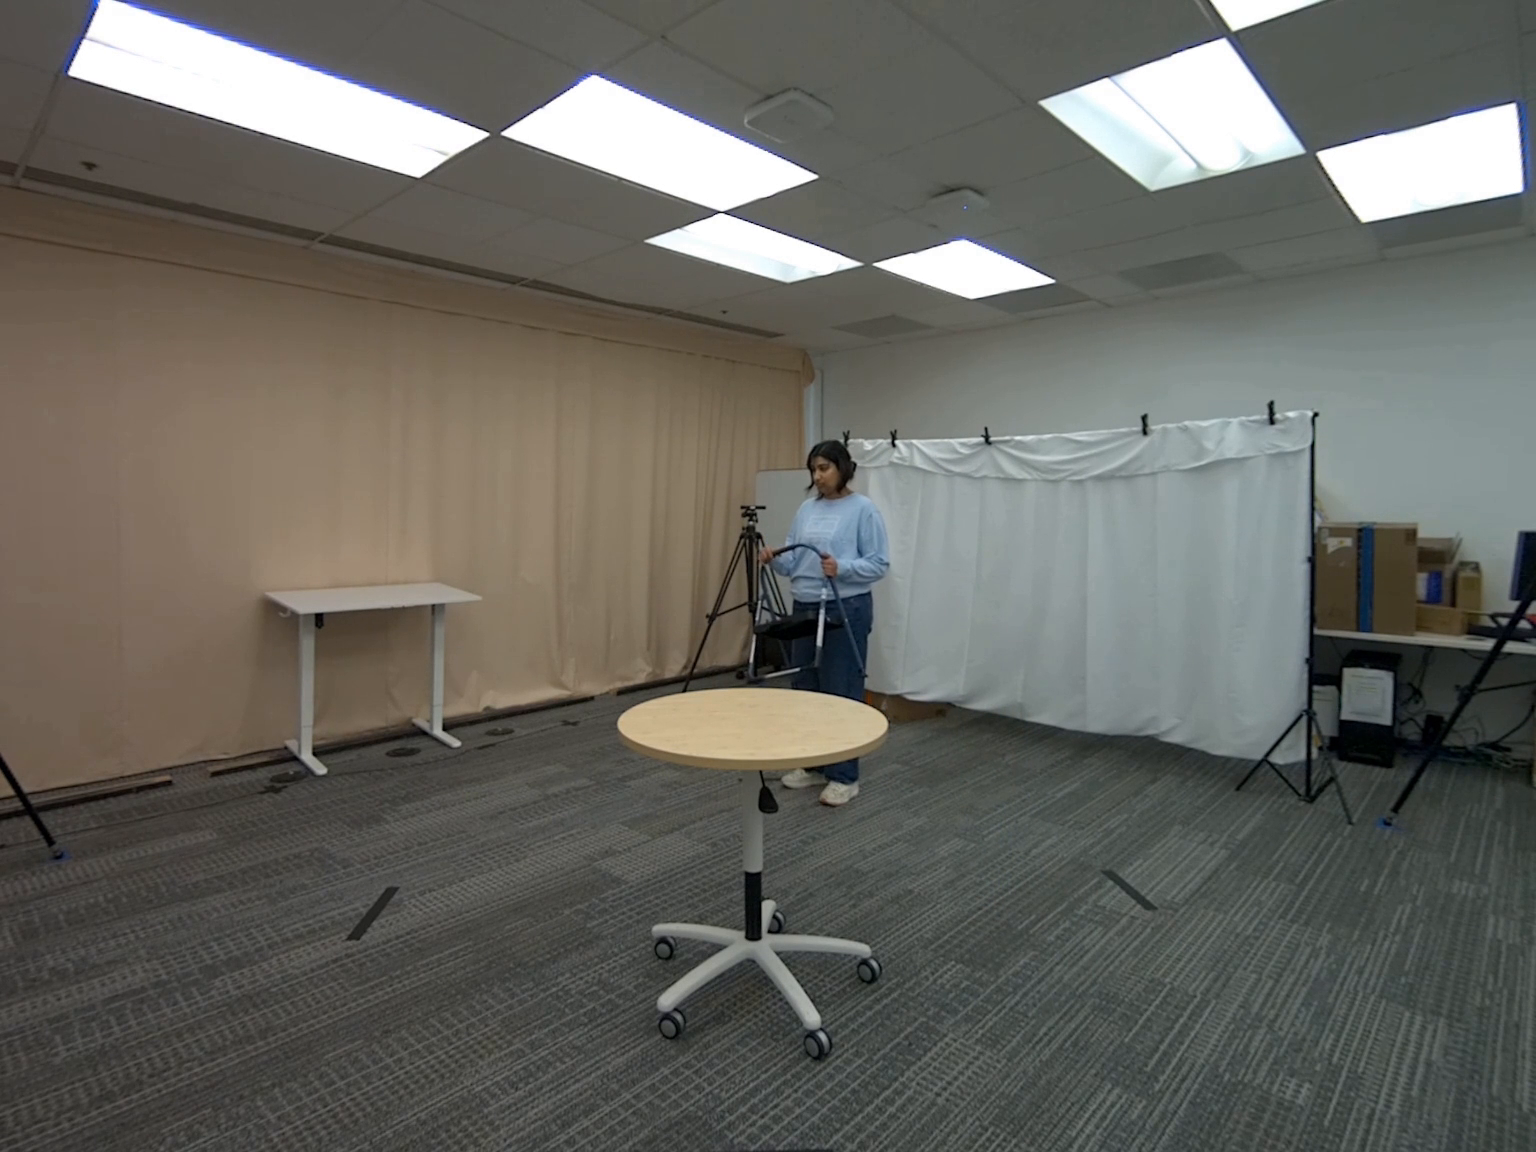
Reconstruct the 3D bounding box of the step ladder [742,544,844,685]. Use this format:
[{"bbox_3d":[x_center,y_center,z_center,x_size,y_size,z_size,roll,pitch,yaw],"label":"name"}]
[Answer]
[{"bbox_3d":[0.150,0.174,3.822,0.441,0.613,0.337,-19,-23,40],"label":"step ladder"}]
